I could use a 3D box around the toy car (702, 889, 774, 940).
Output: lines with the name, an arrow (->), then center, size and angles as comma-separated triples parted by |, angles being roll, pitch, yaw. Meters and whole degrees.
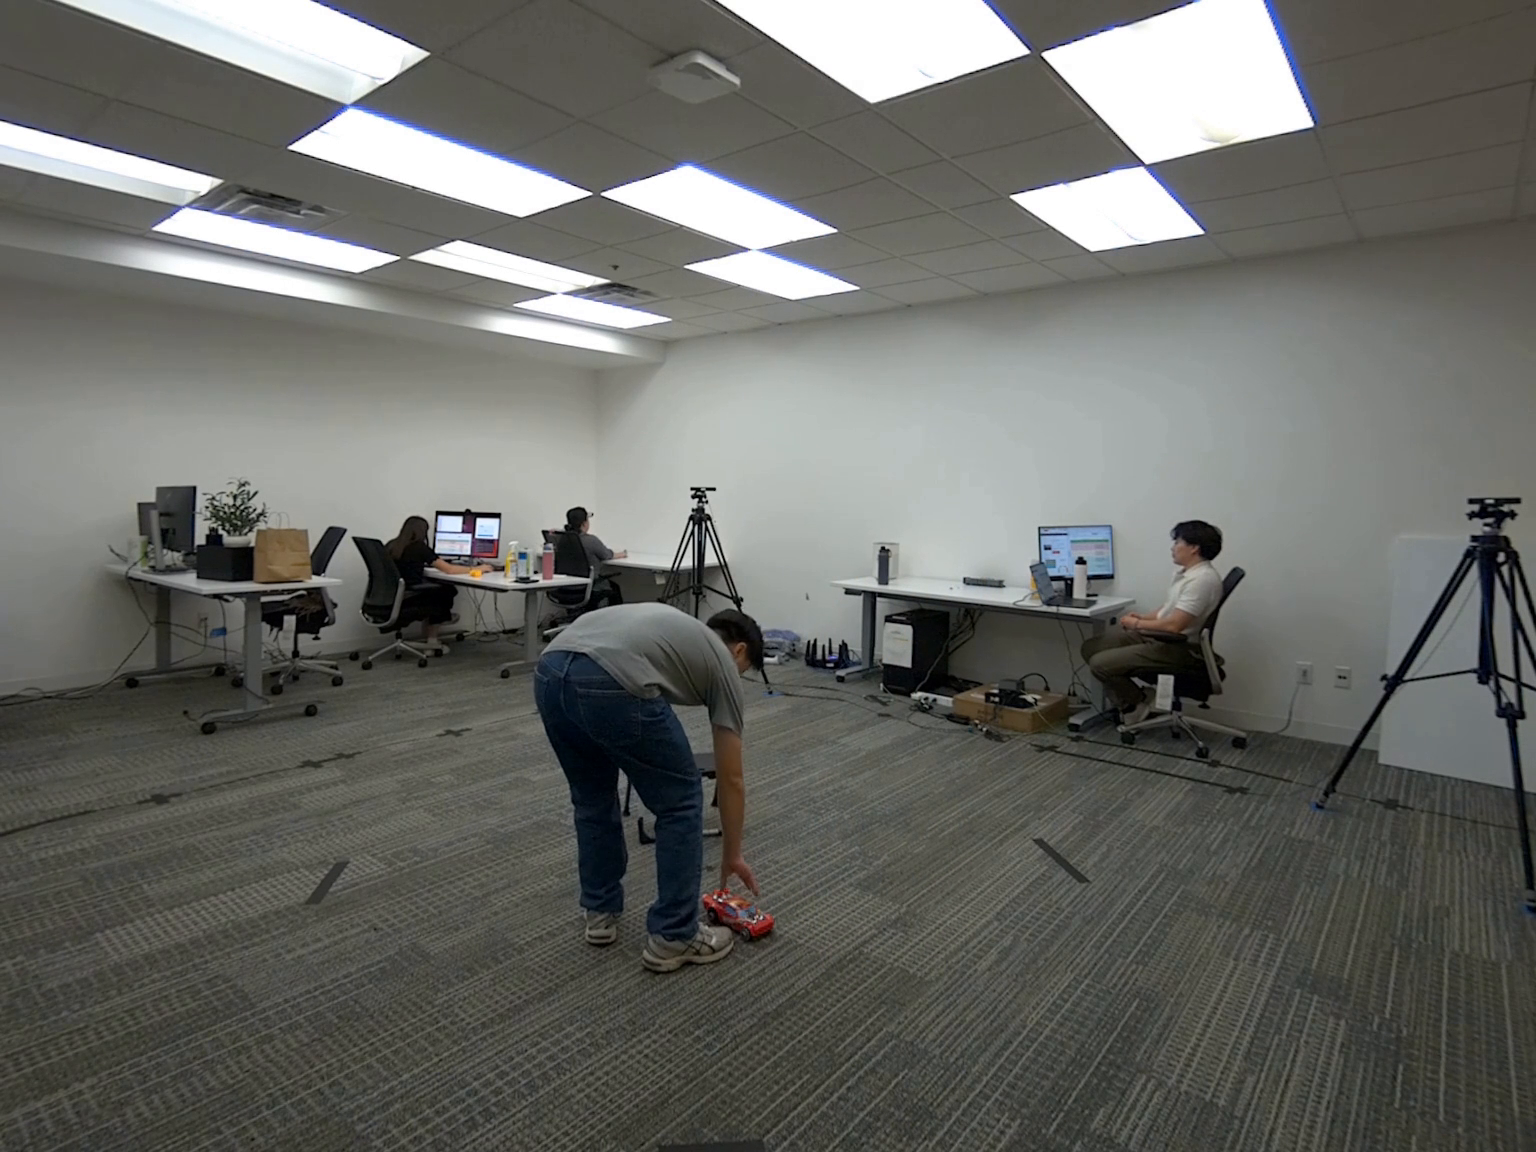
toy car -> -0.111, 1.079, 2.710 | 0.126, 0.082, 0.265 | -4, 18, -44
